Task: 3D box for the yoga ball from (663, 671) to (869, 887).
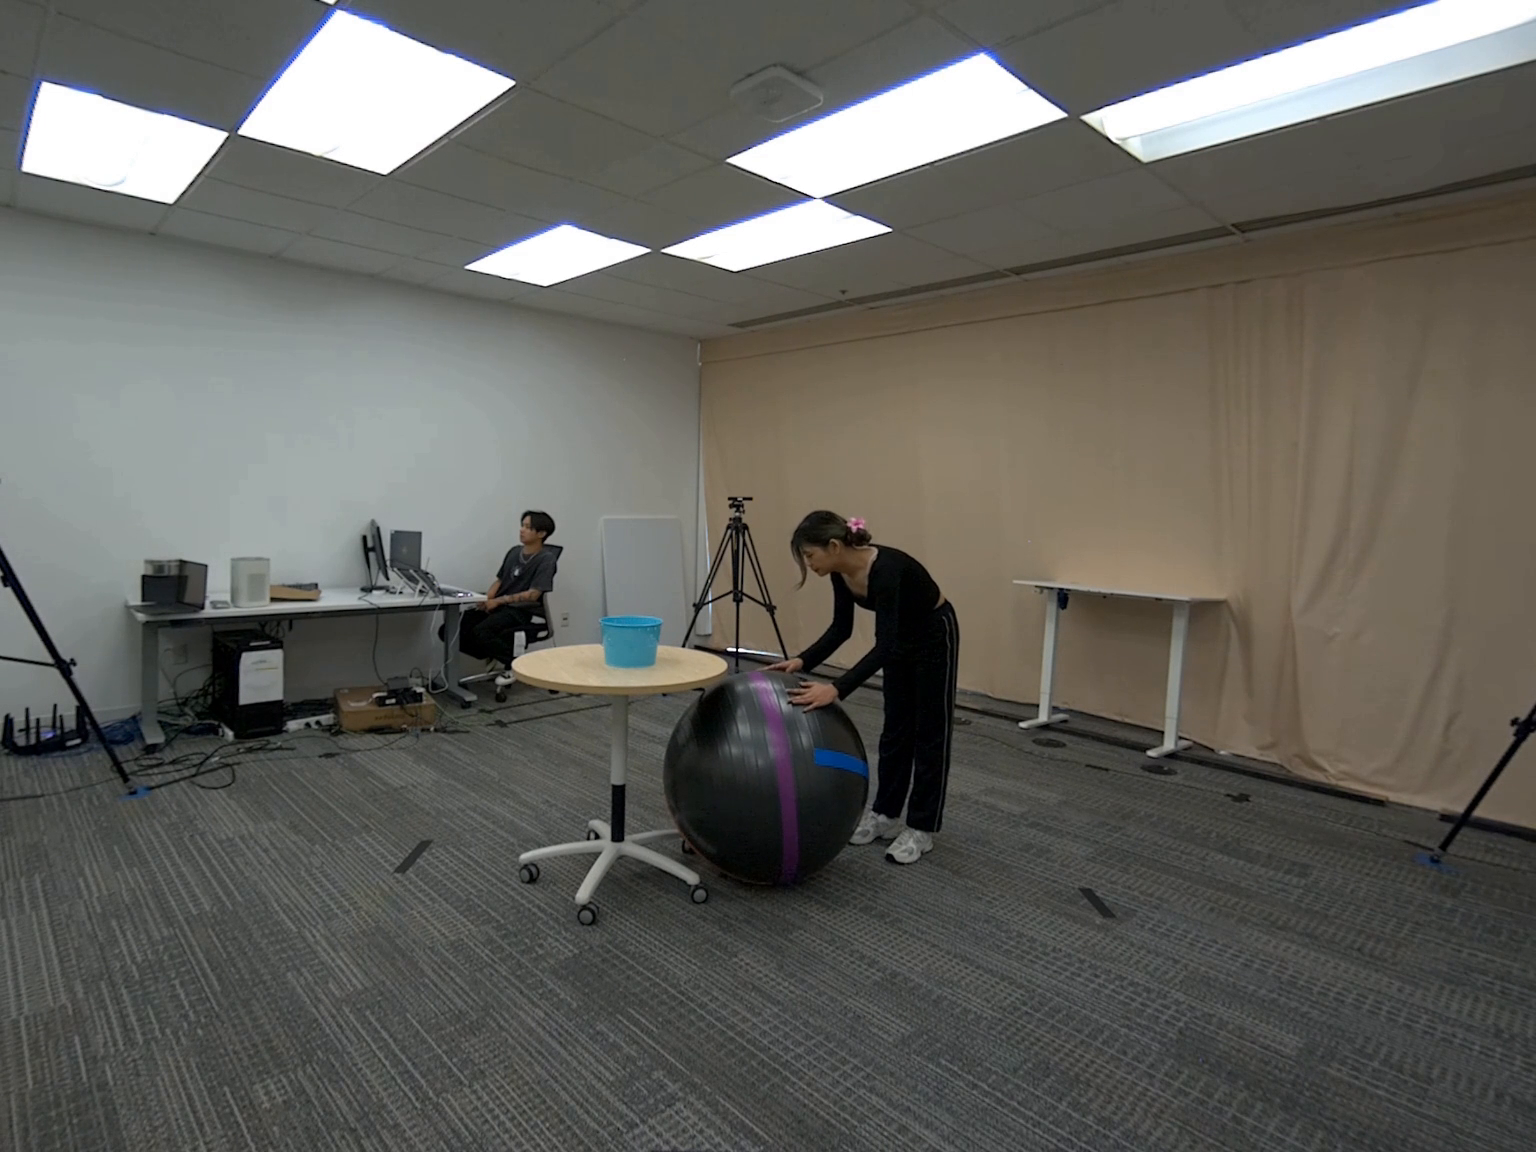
[{"bbox_3d":[-0.003,0.742,3.125,0.757,0.756,0.761,1,4,-1],"label":"yoga ball"}]
